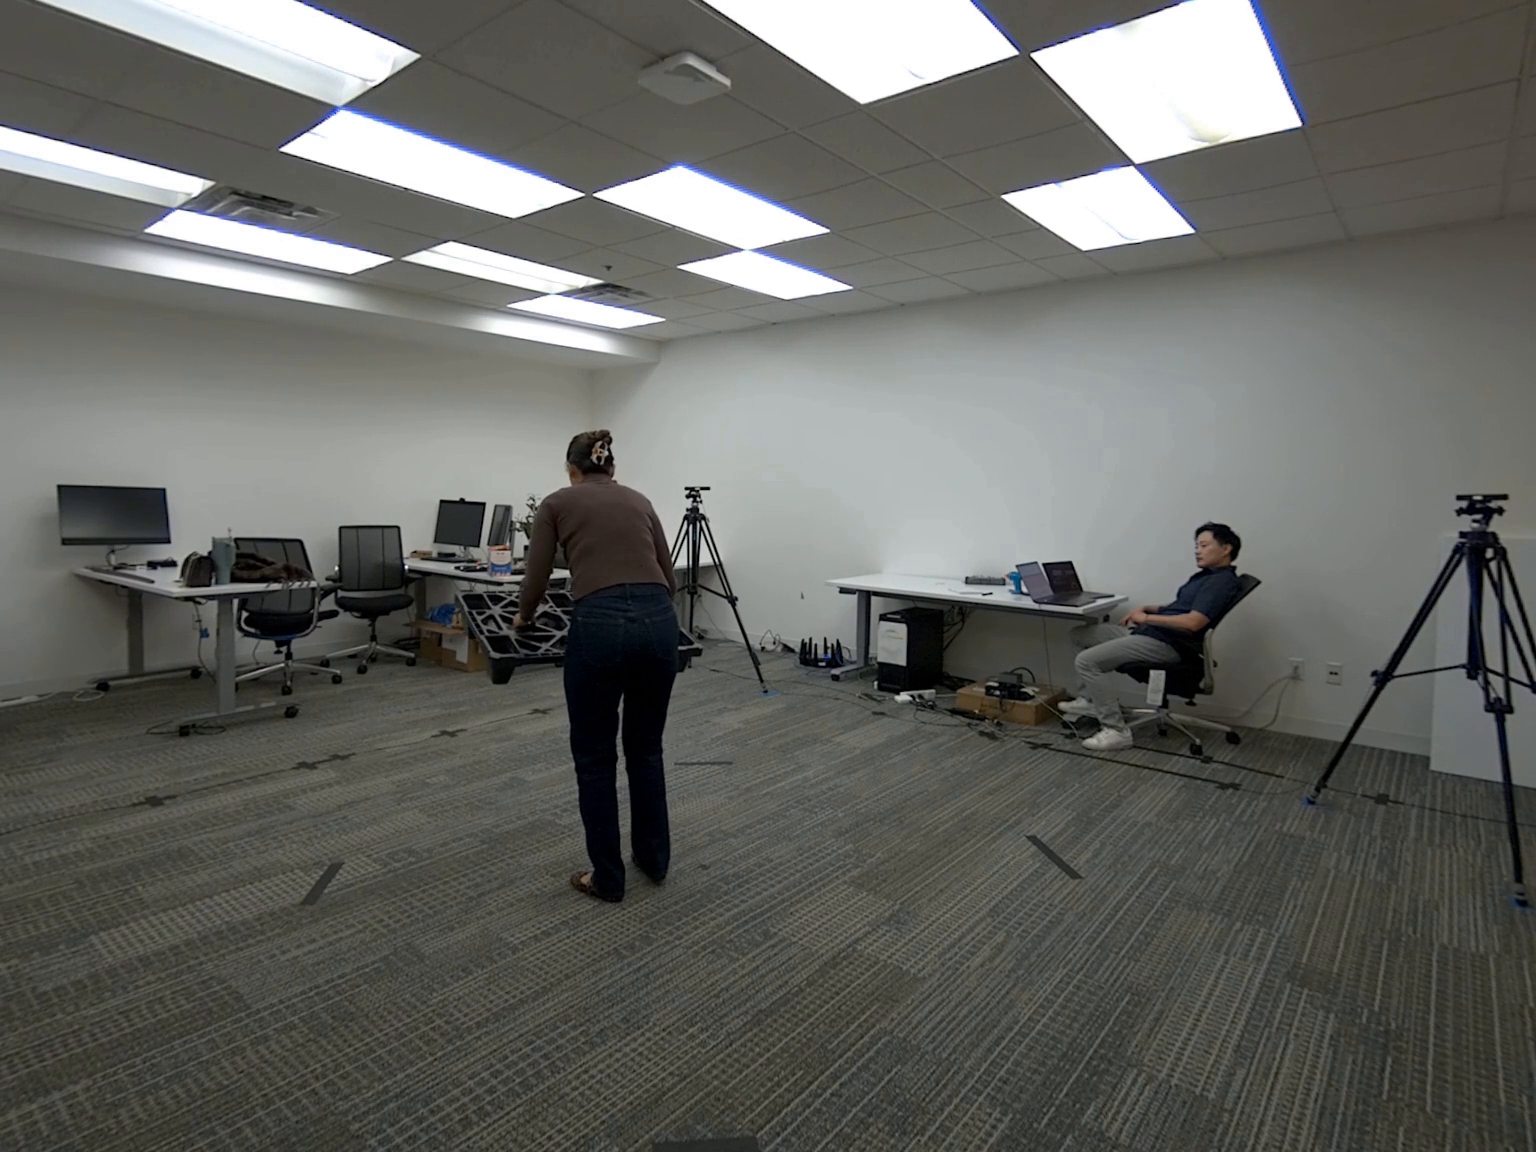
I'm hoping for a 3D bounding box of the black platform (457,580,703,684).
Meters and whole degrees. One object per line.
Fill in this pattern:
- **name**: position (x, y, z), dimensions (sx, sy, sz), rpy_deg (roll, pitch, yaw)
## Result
- **black platform**: position (-0.749, 0.226, 3.245), dimensions (0.783, 0.141, 0.630), rpy_deg (0, 20, -31)
